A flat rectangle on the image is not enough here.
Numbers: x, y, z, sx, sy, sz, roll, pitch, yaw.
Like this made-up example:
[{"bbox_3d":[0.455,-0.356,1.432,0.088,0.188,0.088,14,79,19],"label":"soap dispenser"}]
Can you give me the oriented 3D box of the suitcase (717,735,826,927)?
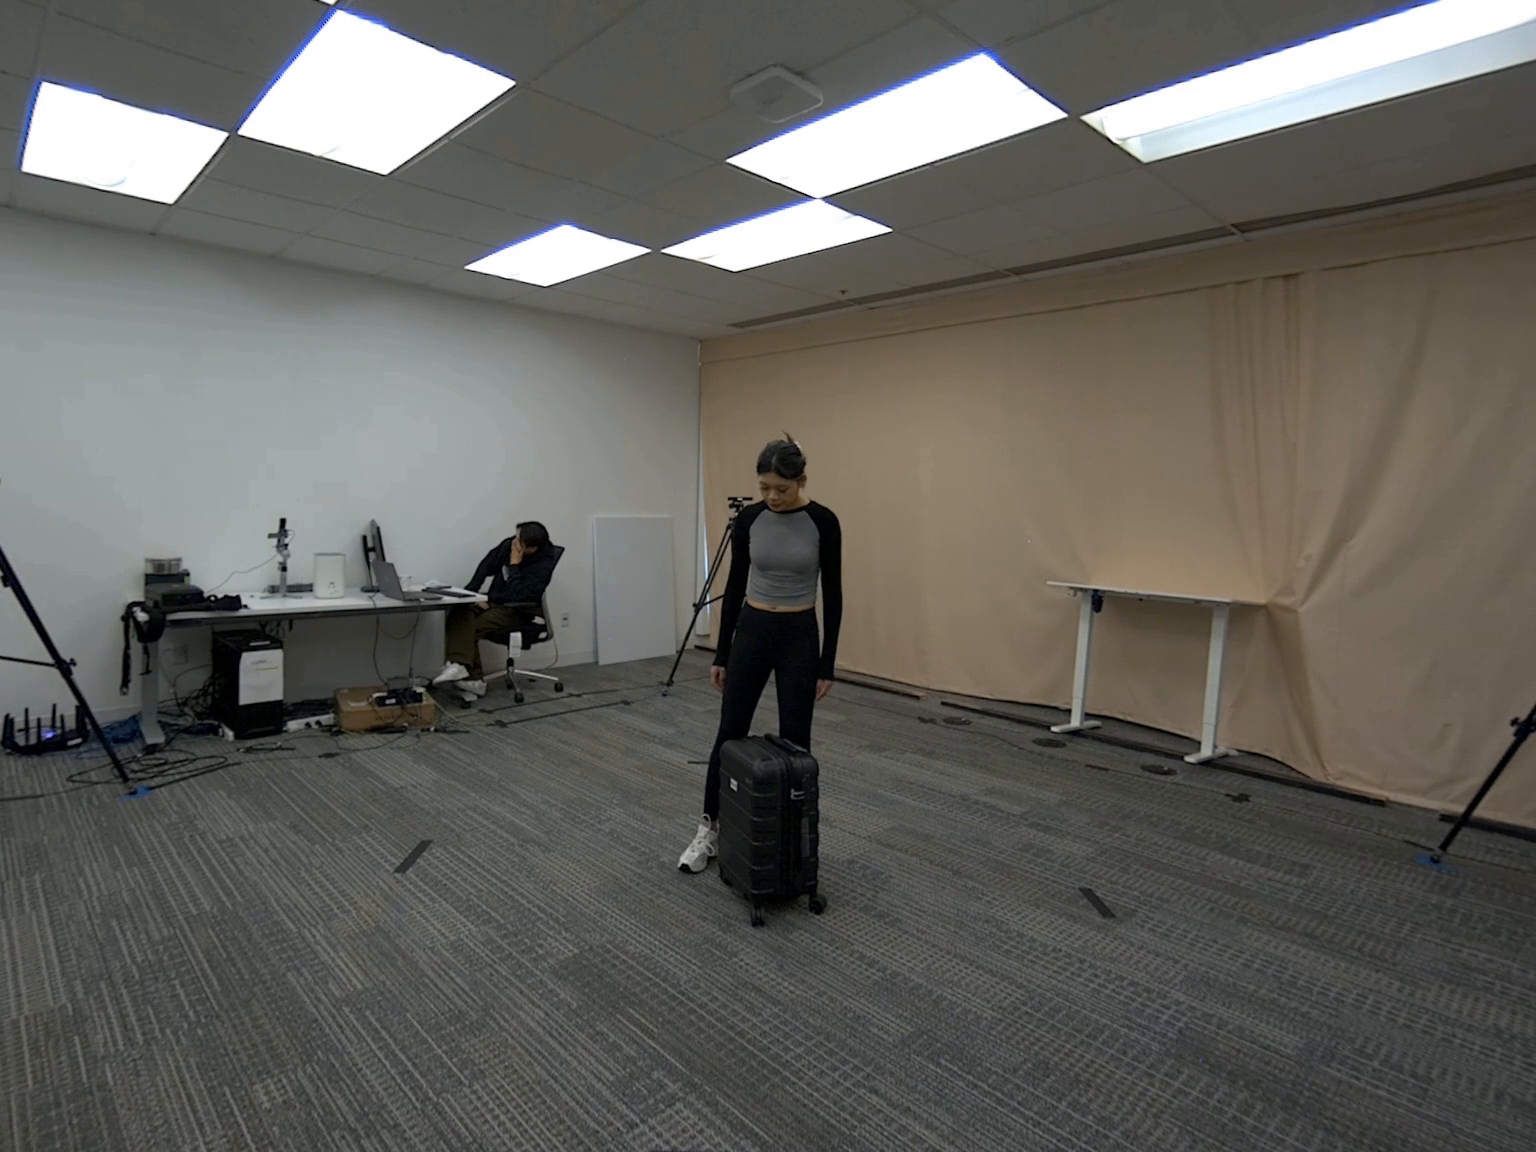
[{"bbox_3d":[-0.010,0.848,2.929,0.244,0.548,0.382,0,4,-23],"label":"suitcase"}]
